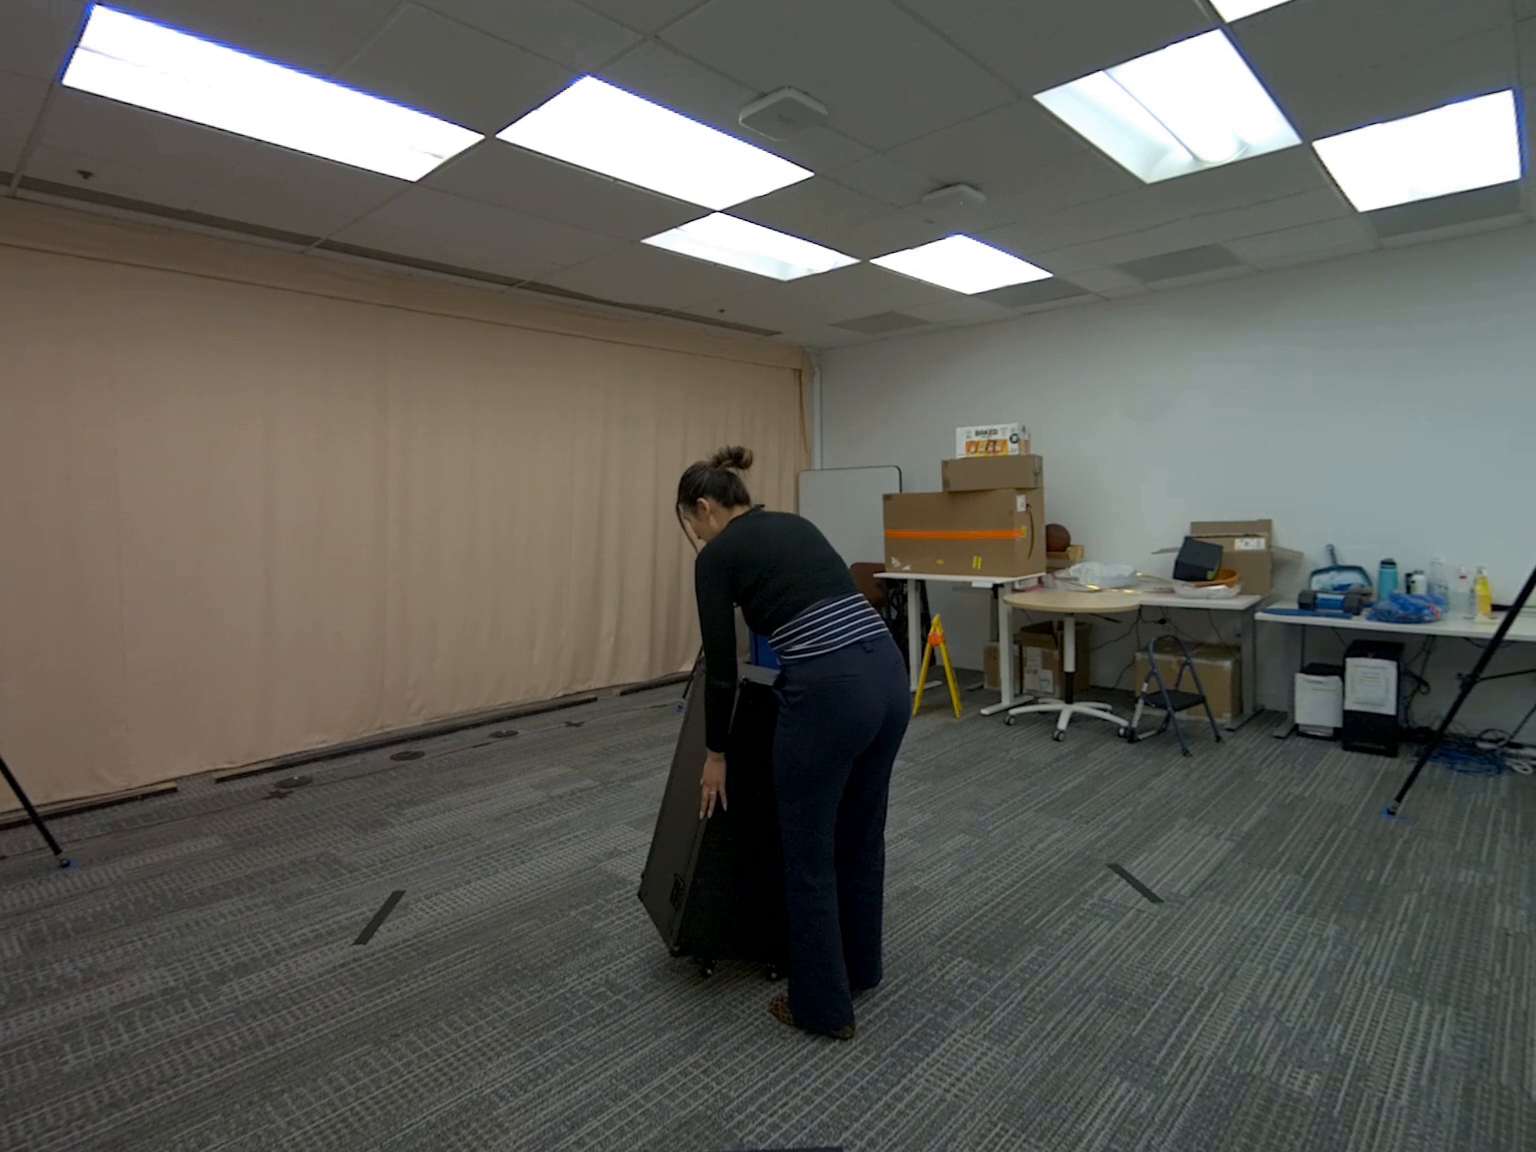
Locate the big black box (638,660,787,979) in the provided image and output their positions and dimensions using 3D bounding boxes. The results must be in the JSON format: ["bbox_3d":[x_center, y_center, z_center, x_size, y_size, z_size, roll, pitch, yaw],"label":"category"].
[{"bbox_3d":[-0.042,0.726,2.563,0.509,0.862,0.406,15,-2,-22],"label":"big black box"}]
